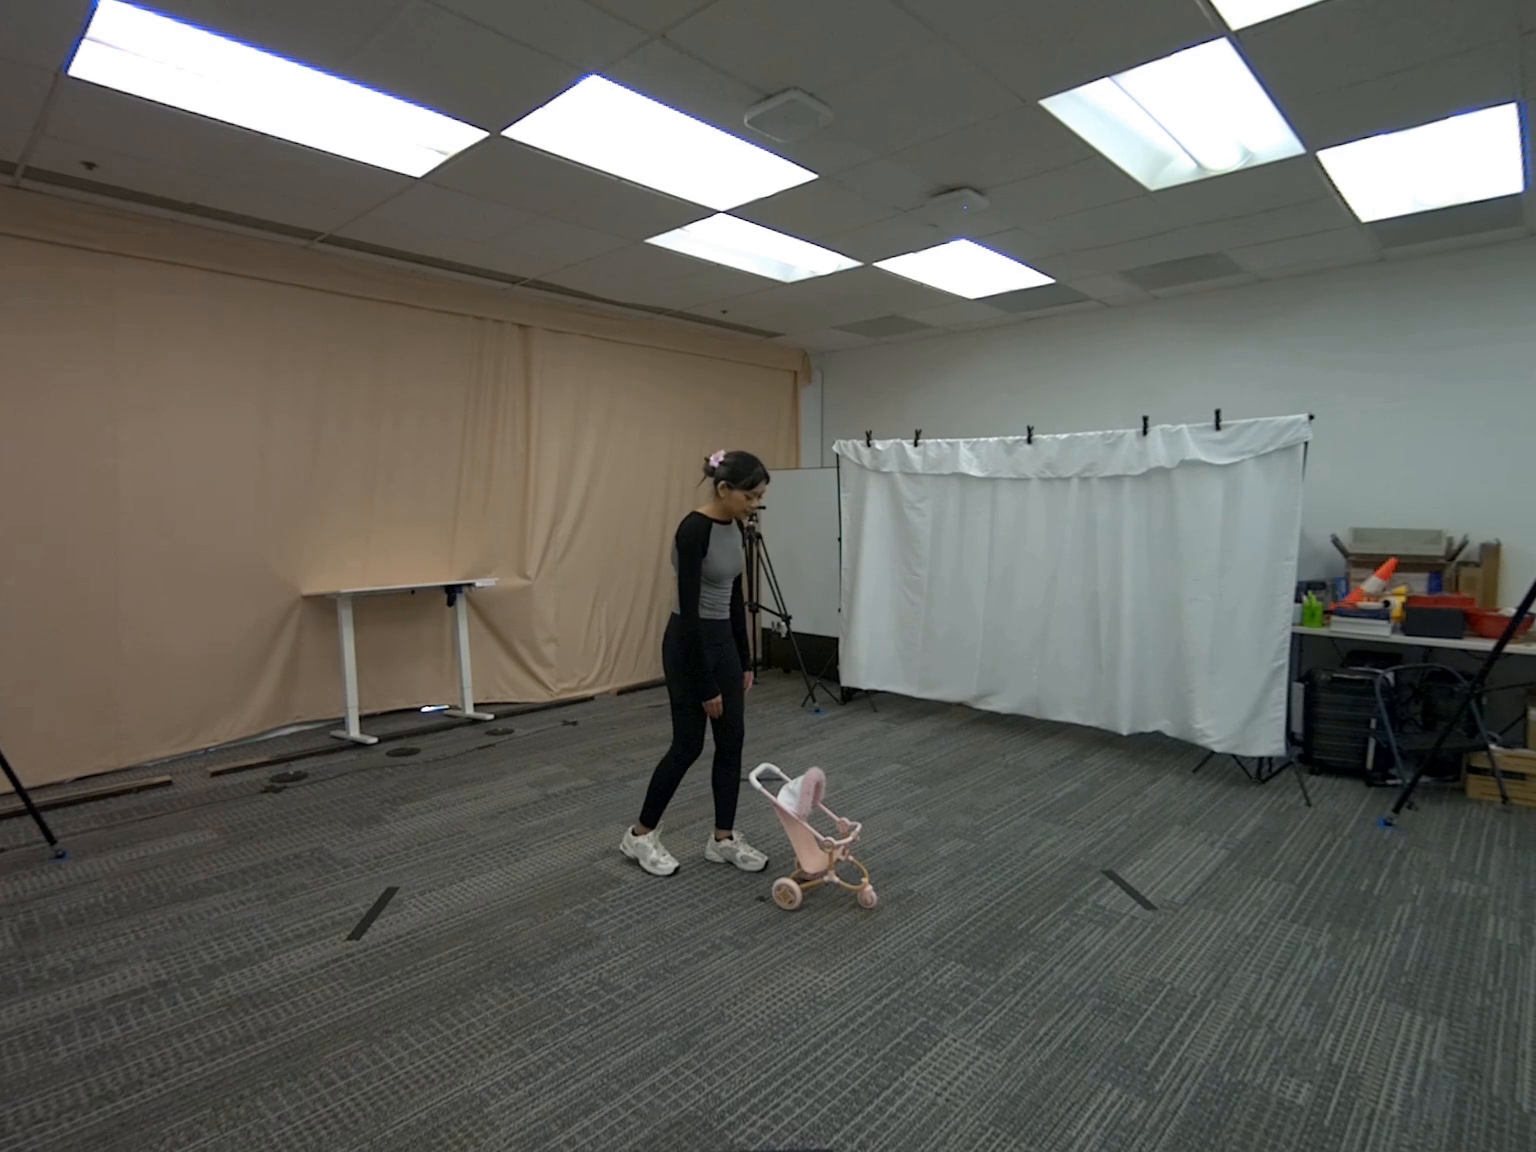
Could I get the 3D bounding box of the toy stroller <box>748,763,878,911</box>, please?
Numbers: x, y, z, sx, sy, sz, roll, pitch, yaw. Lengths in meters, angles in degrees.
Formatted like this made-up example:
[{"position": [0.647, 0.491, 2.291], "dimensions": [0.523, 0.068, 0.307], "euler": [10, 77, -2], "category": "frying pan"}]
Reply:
[{"position": [0.171, 0.918, 2.974], "dimensions": [0.349, 0.537, 0.274], "euler": [-16, -4, 27], "category": "toy stroller"}]
